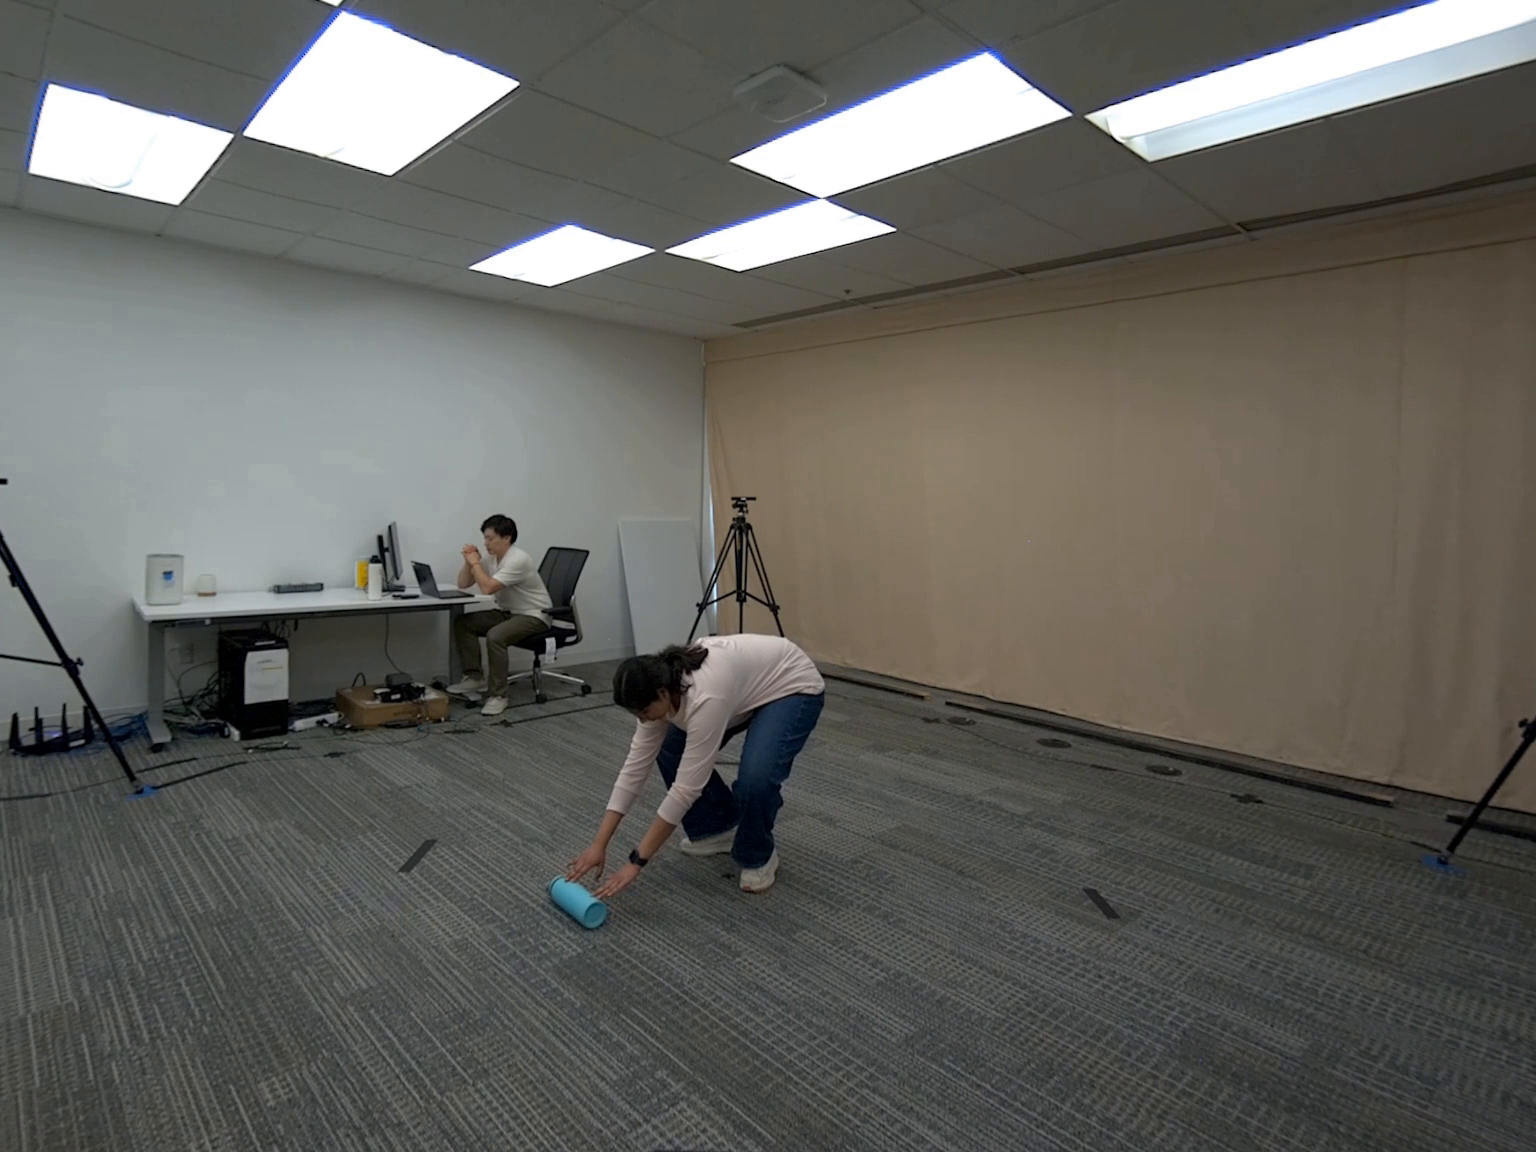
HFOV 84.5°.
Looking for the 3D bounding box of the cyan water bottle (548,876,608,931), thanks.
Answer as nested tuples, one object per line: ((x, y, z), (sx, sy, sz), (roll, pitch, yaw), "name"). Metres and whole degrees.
((-0.649, 1.076, 2.806), (0.090, 0.092, 0.290), (-2, 6, -38), "cyan water bottle")
